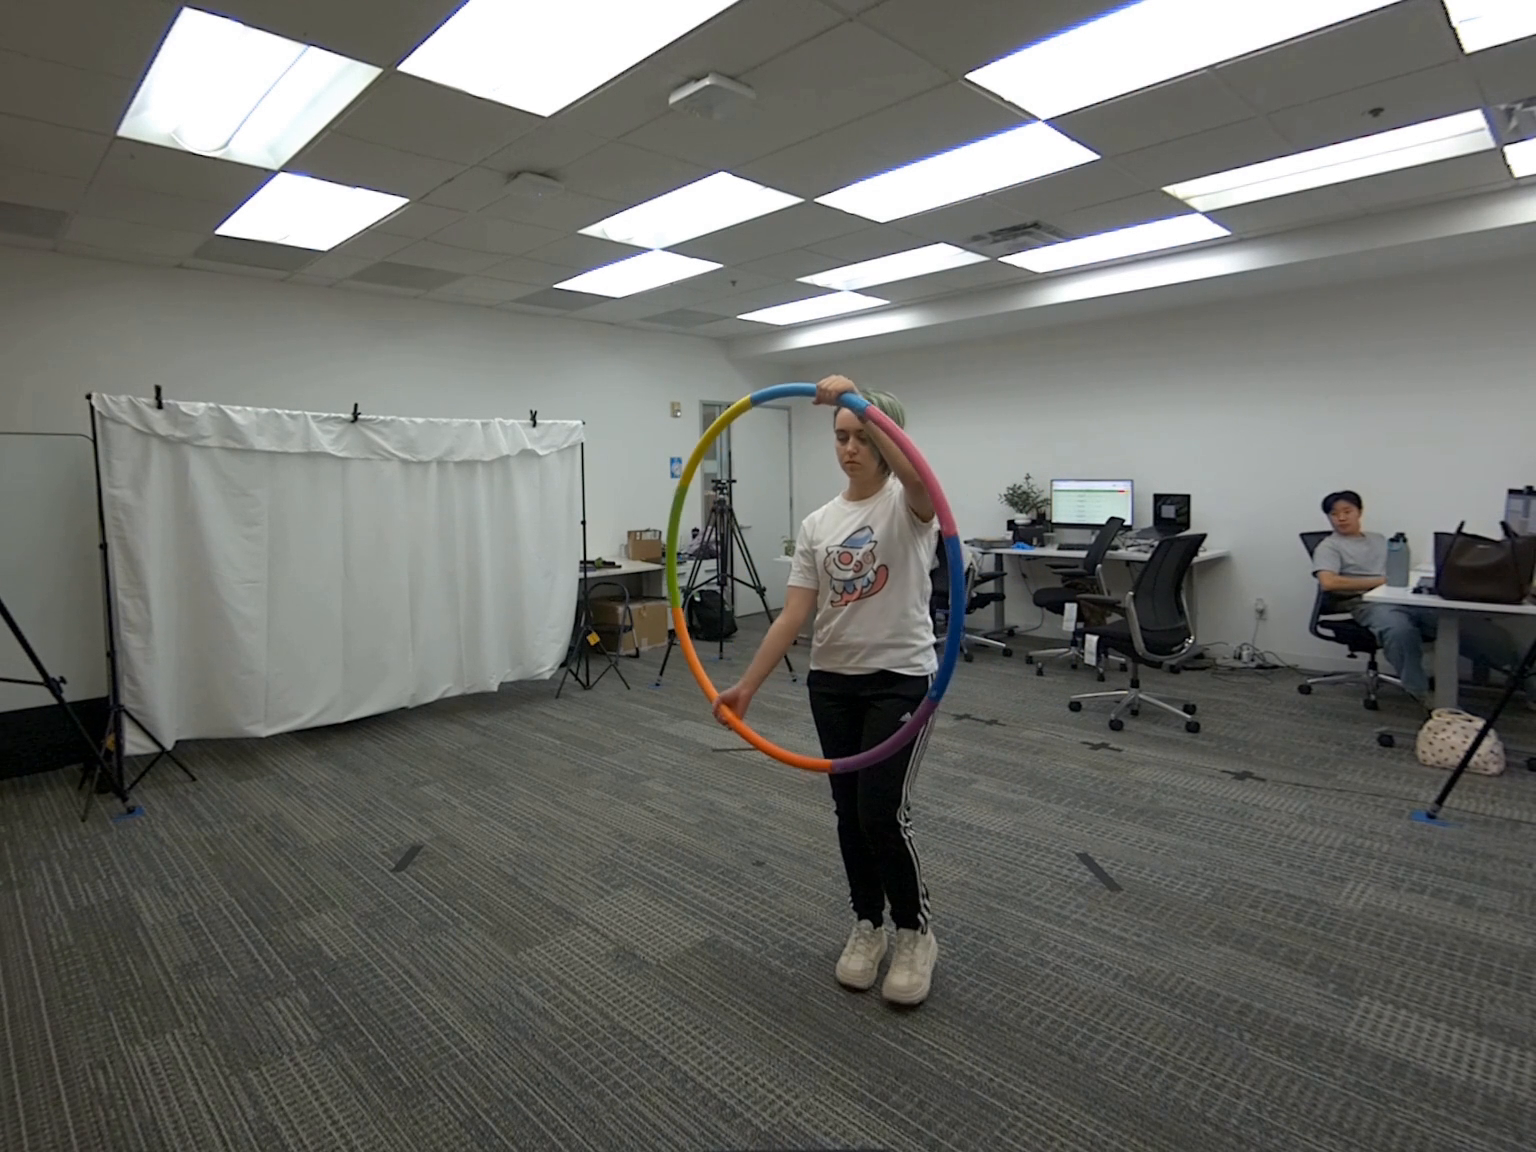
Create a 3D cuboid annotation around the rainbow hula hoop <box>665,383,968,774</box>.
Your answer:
[{"bbox_3d":[0.066,0.008,2.182,1.009,0.974,0.034,4,7,45],"label":"rainbow hula hoop"}]
